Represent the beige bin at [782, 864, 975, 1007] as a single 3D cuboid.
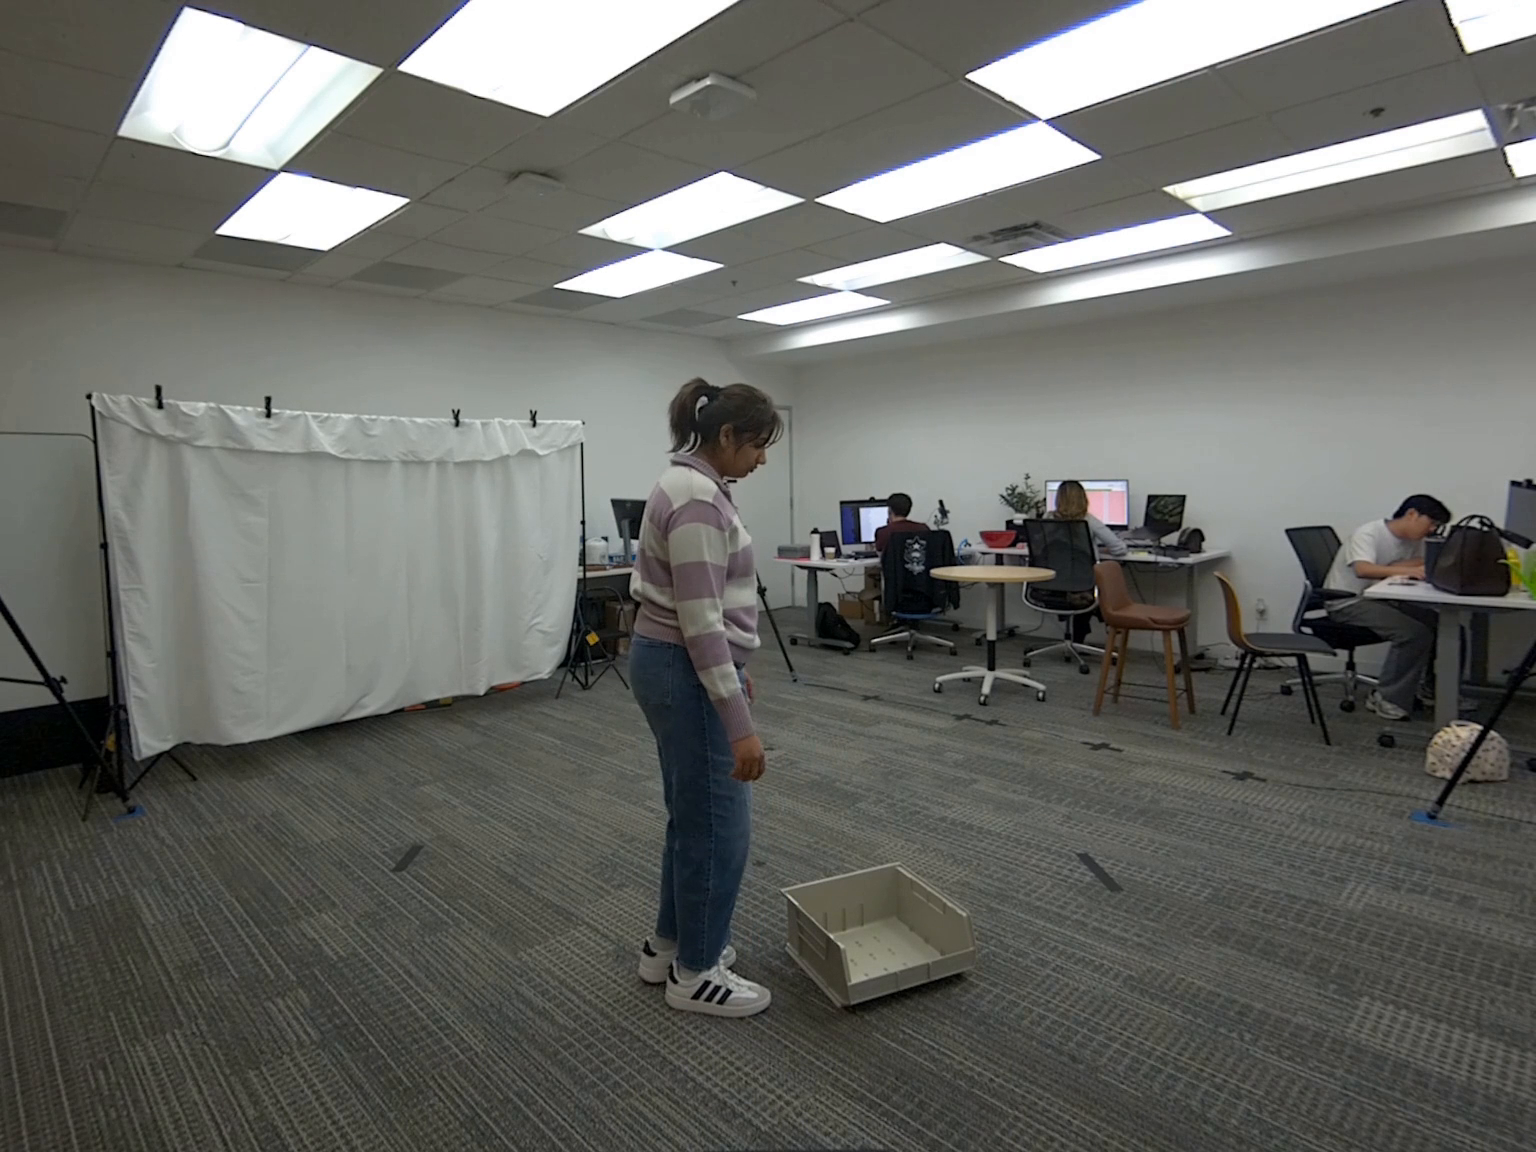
[{"bbox_3d":[0.316,1.028,2.452,0.414,0.188,0.386,-4,6,-25],"label":"beige bin"}]
